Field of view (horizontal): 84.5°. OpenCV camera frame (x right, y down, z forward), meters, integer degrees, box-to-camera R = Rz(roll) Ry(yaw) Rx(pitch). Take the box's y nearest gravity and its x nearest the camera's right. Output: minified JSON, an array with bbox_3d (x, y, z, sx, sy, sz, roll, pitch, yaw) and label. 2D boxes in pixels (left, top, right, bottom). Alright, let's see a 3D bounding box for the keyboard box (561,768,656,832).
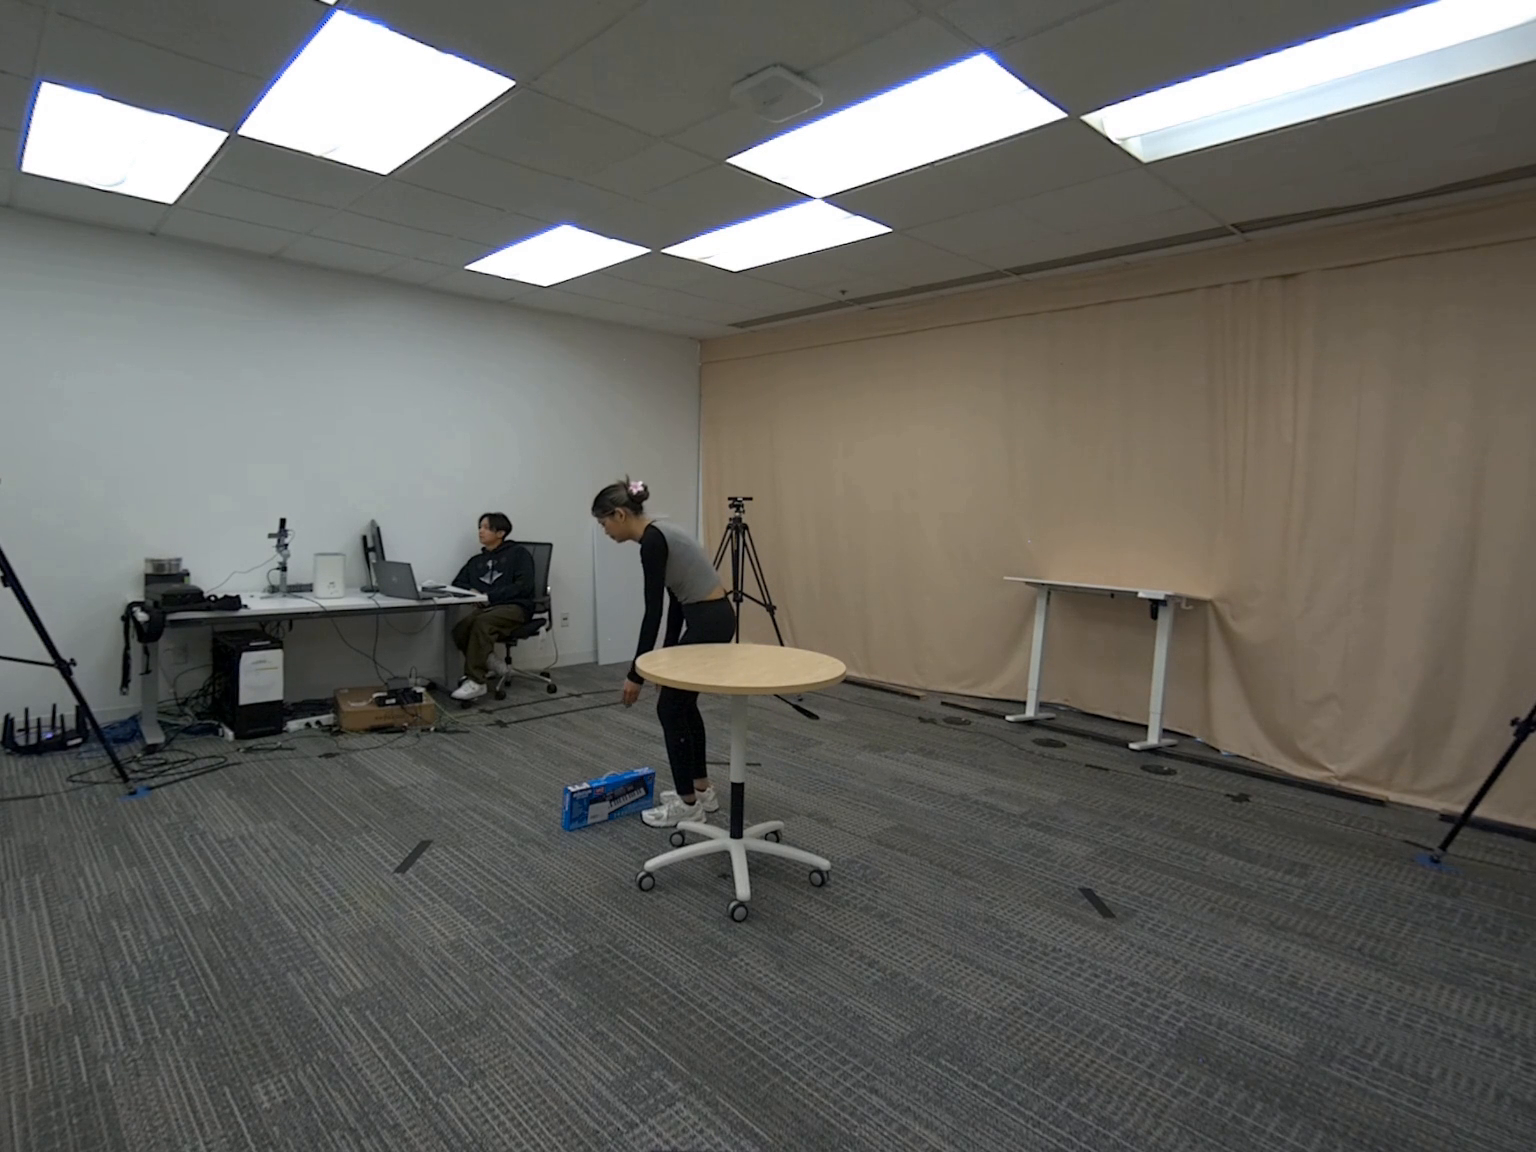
[{"bbox_3d":[-0.693,0.962,3.637,0.427,0.175,0.061,-3,11,-44],"label":"keyboard box"}]
